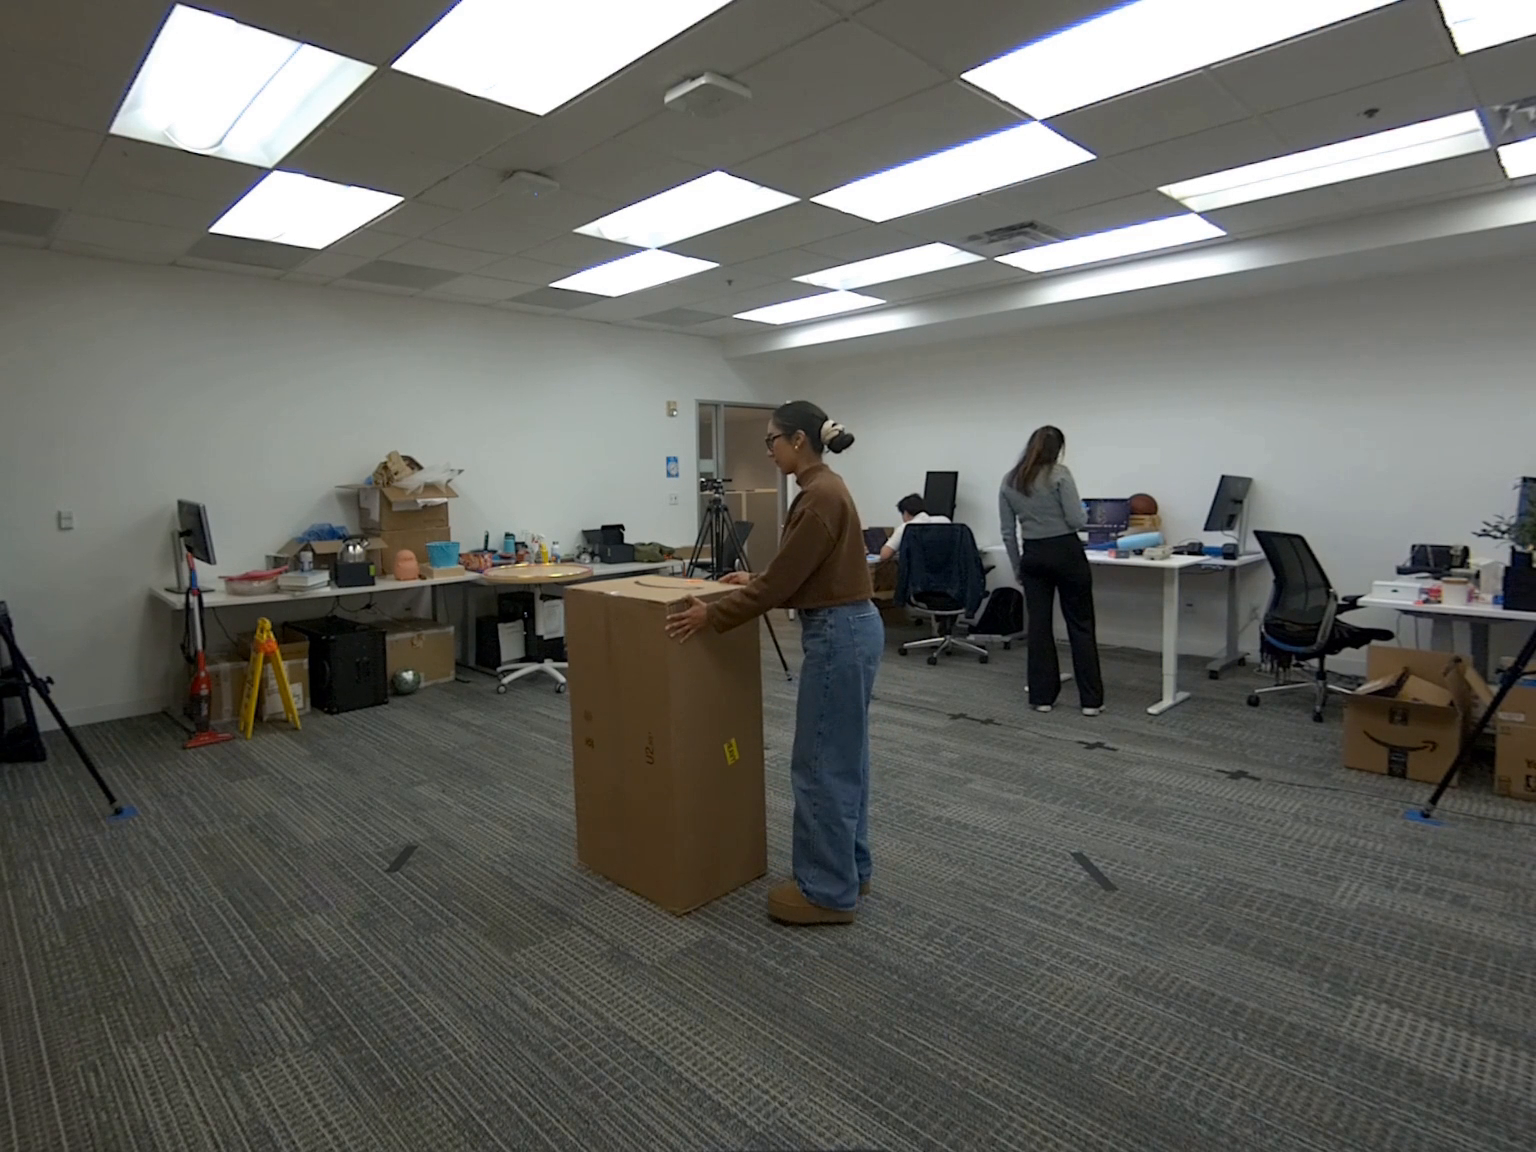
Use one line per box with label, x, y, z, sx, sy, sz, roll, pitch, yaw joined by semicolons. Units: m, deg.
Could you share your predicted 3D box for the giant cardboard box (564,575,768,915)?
giant cardboard box;-0.365;0.545;3.050;0.415;1.021;0.595;-6;7;-45
